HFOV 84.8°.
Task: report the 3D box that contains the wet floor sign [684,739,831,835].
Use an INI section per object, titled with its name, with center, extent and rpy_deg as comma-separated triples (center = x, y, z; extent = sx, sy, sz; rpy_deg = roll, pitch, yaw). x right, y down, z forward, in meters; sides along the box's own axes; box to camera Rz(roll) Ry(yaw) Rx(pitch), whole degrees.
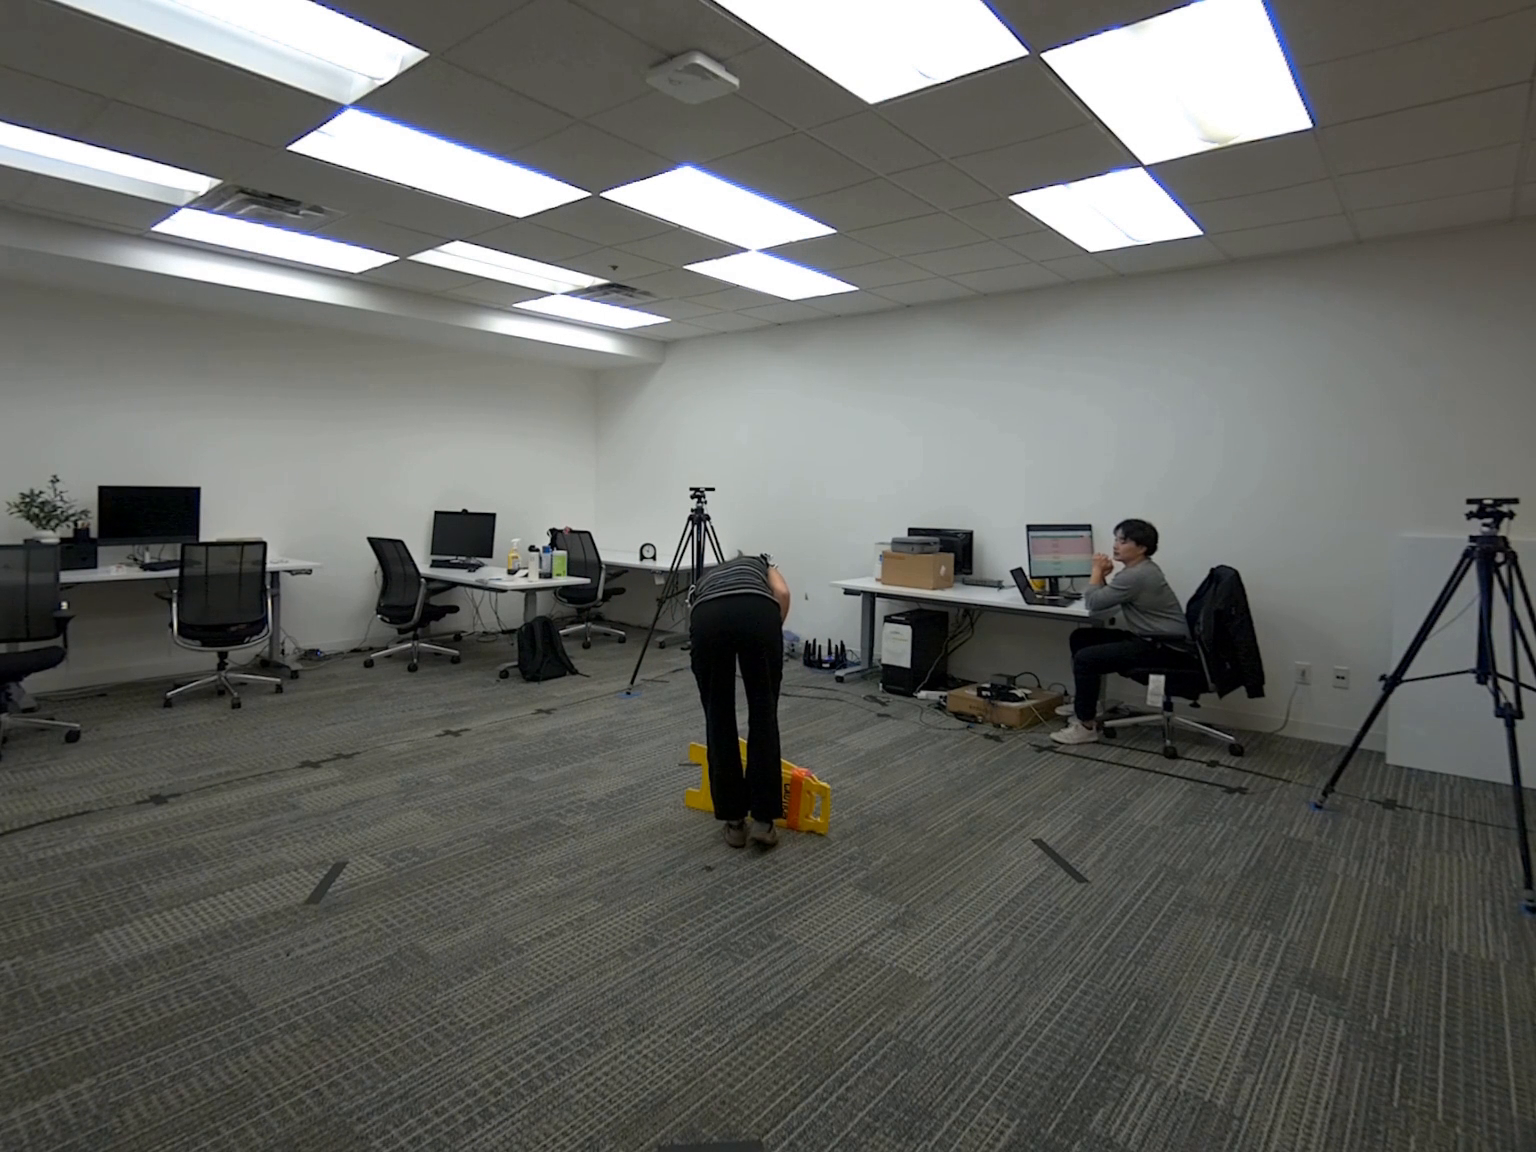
[wet floor sign]
center = -0.029, 0.895, 3.622
extent = 0.668, 0.281, 0.281
rpy_deg = 8, 6, 36
